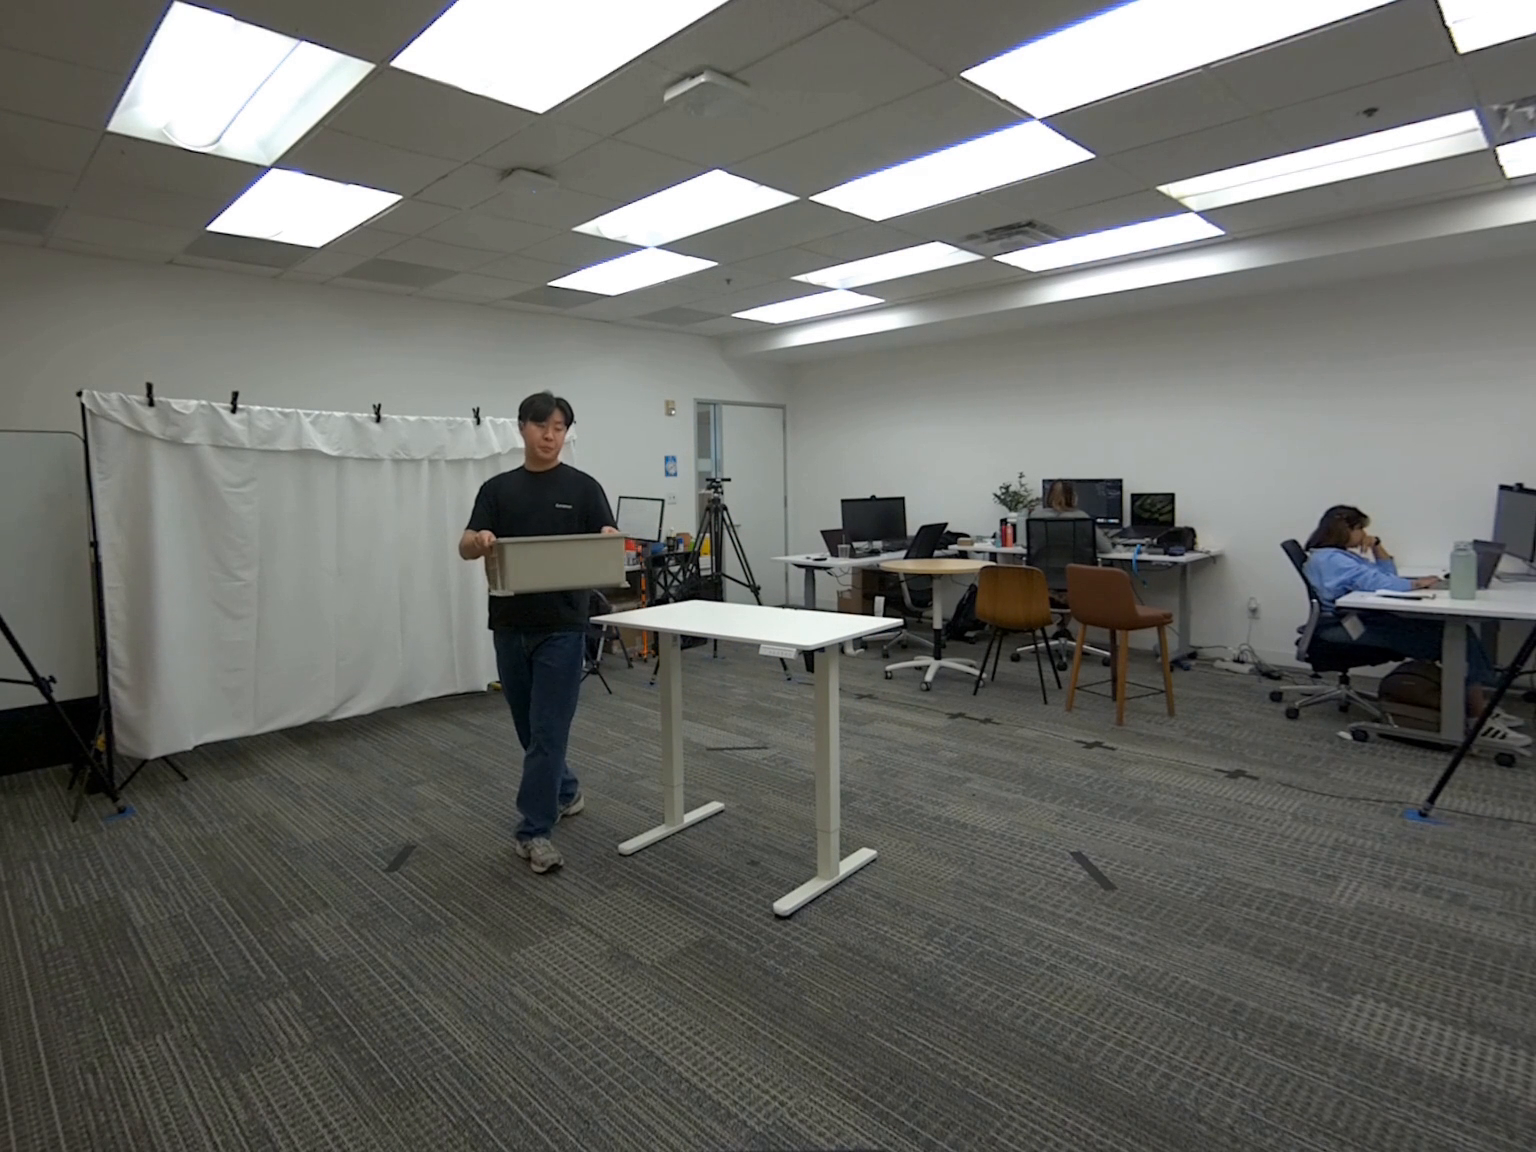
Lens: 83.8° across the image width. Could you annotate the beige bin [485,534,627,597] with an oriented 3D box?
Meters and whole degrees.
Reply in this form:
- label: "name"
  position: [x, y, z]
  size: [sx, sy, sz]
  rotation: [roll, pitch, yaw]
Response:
- label: "beige bin"
  position: [-0.726, -0.042, 2.893]
  size: [0.413, 0.188, 0.386]
  rotation: [-3, 3, -26]
